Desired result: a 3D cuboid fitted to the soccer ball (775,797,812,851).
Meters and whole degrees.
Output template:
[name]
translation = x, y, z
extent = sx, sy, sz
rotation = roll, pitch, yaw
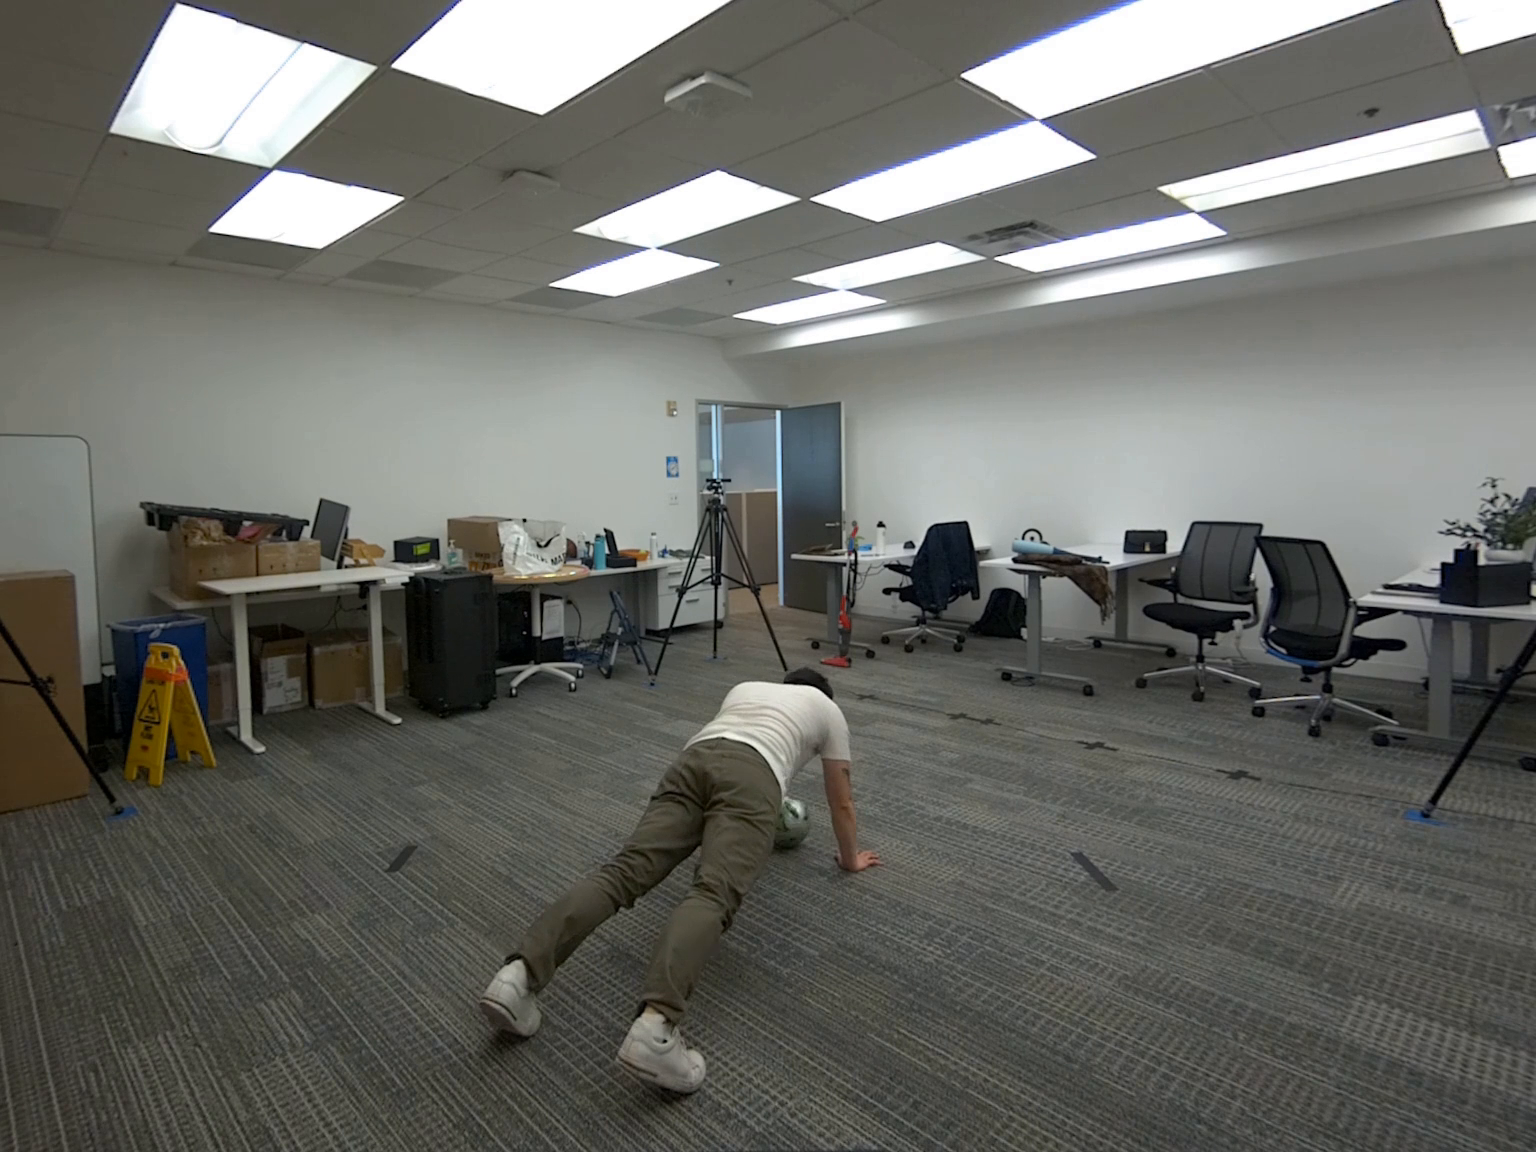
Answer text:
[soccer ball]
translation = 0.075, 0.931, 3.248
extent = 0.187, 0.187, 0.188
rotation = -1, 5, -2
